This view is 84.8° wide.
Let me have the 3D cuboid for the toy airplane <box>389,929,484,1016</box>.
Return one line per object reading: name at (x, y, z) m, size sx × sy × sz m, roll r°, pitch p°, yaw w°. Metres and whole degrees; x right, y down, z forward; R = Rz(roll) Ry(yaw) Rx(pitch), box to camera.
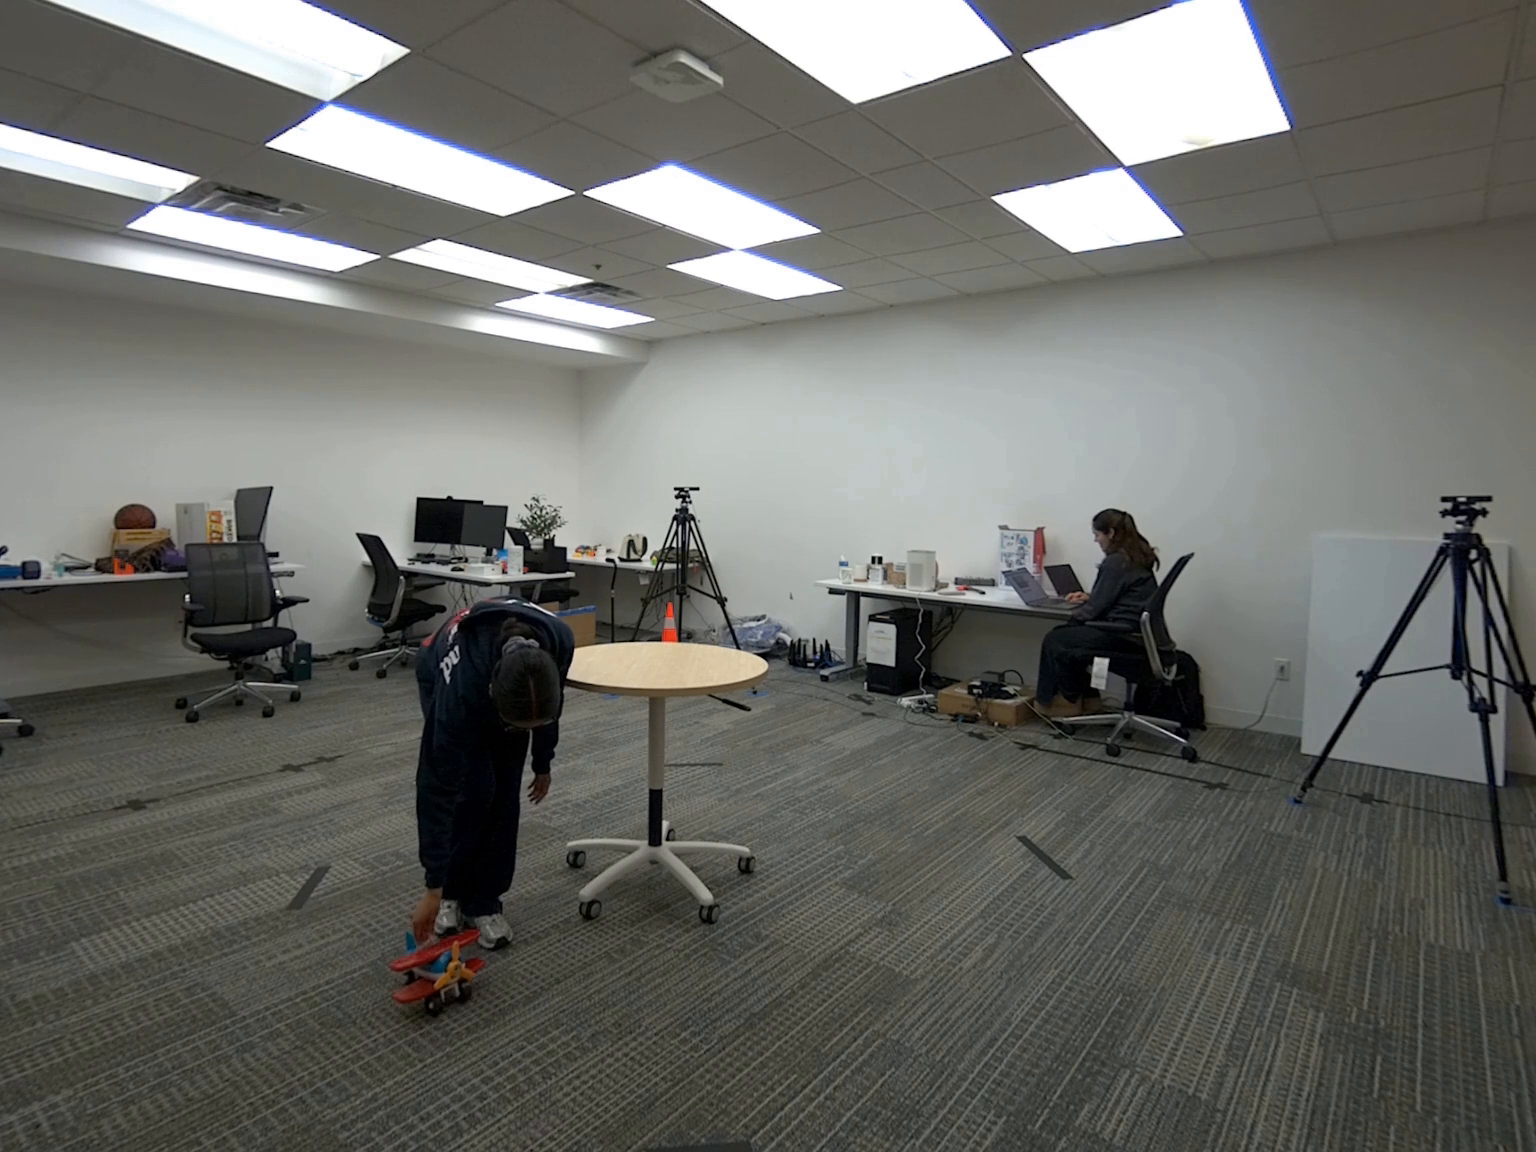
toy airplane at (-0.938, 1.064, 2.302) m, size 0.263 × 0.156 × 0.248 m, roll 3°, pitch 4°, yaw 12°
